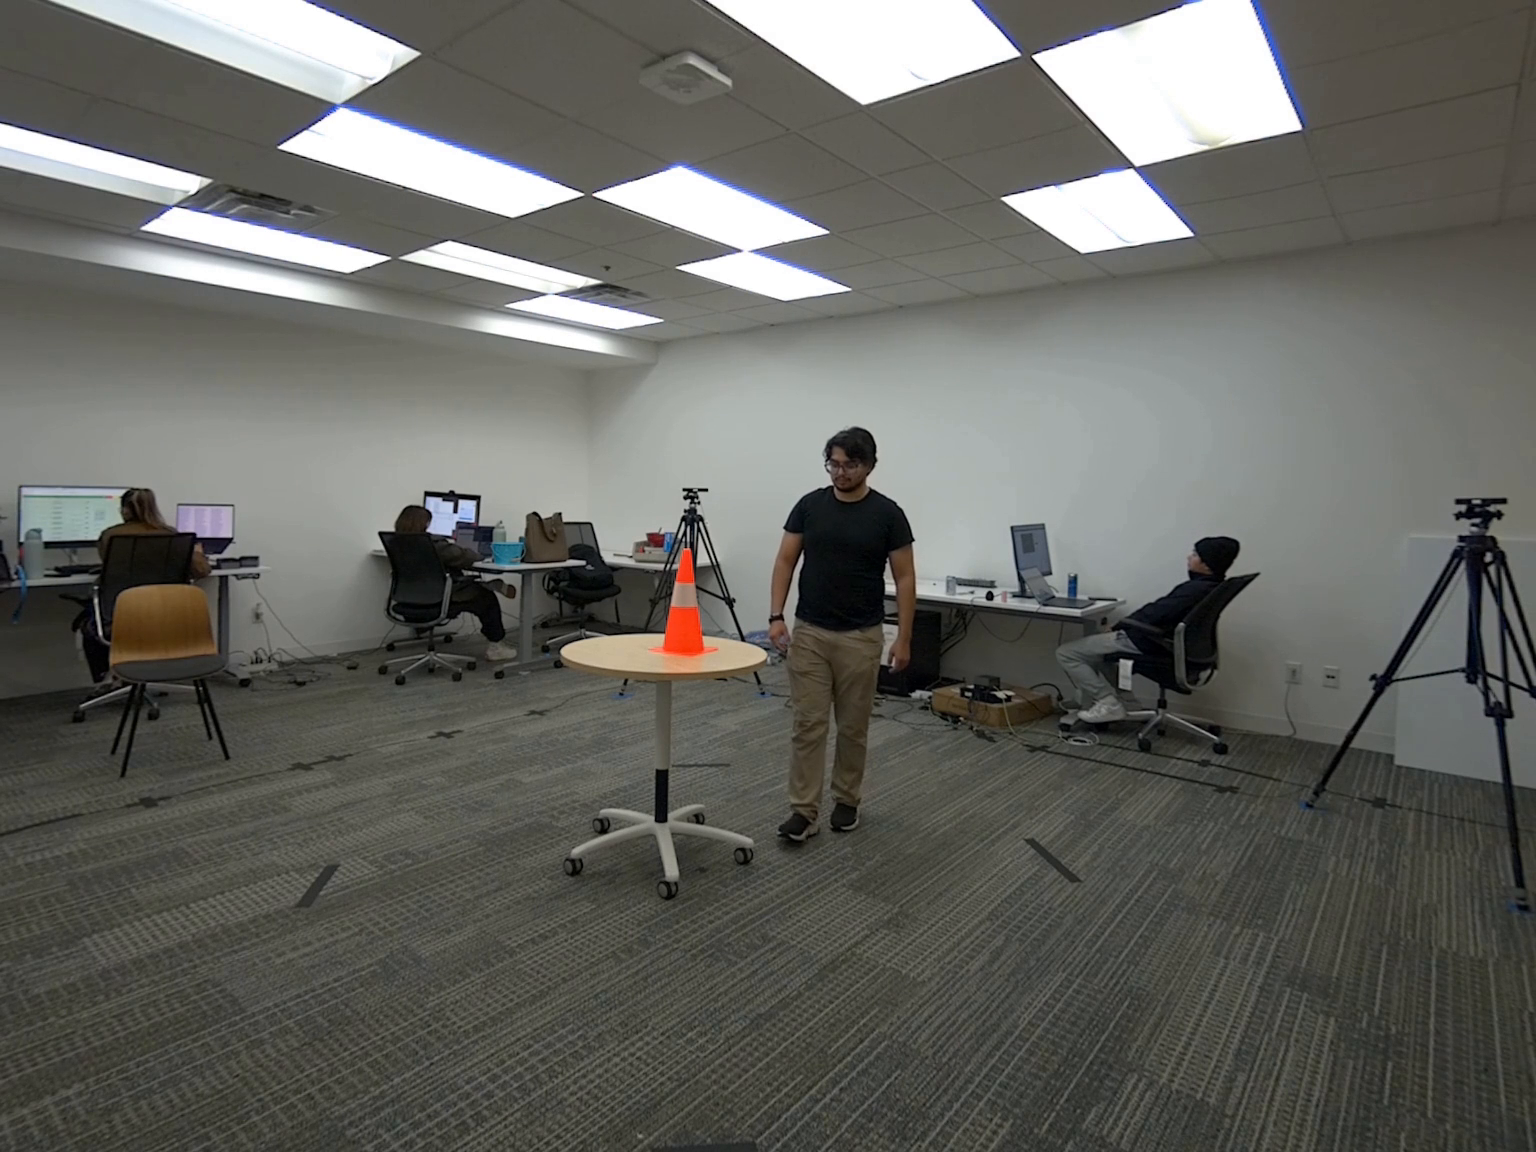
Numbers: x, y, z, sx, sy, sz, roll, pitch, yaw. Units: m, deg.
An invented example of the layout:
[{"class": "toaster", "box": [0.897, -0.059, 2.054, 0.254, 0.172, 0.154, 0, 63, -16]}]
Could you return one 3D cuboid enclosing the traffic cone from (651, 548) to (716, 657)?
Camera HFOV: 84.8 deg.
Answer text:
[{"class": "traffic cone", "box": [-0.321, 0.090, 3.193, 0.211, 0.383, 0.198, 4, 4, 32]}]
